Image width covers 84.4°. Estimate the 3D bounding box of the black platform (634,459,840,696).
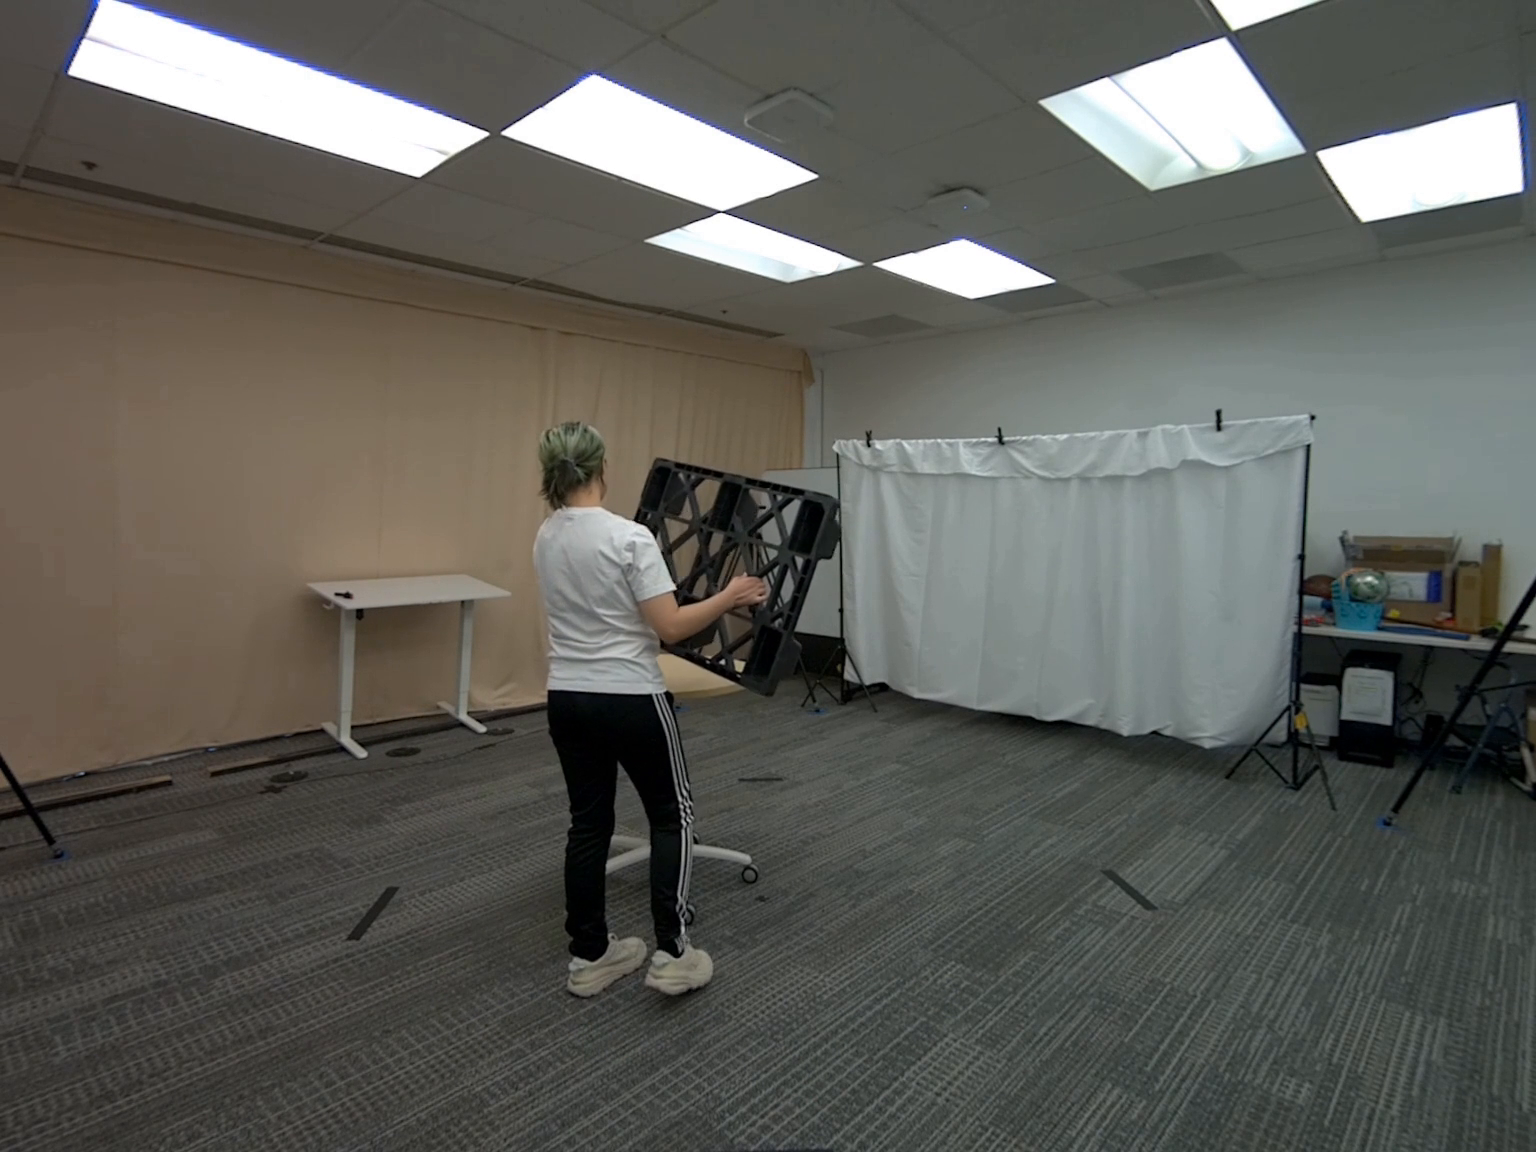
[{"bbox_3d":[-0.158,-0.019,2.681,0.835,0.605,0.138,18,-1,42],"label":"black platform"}]
